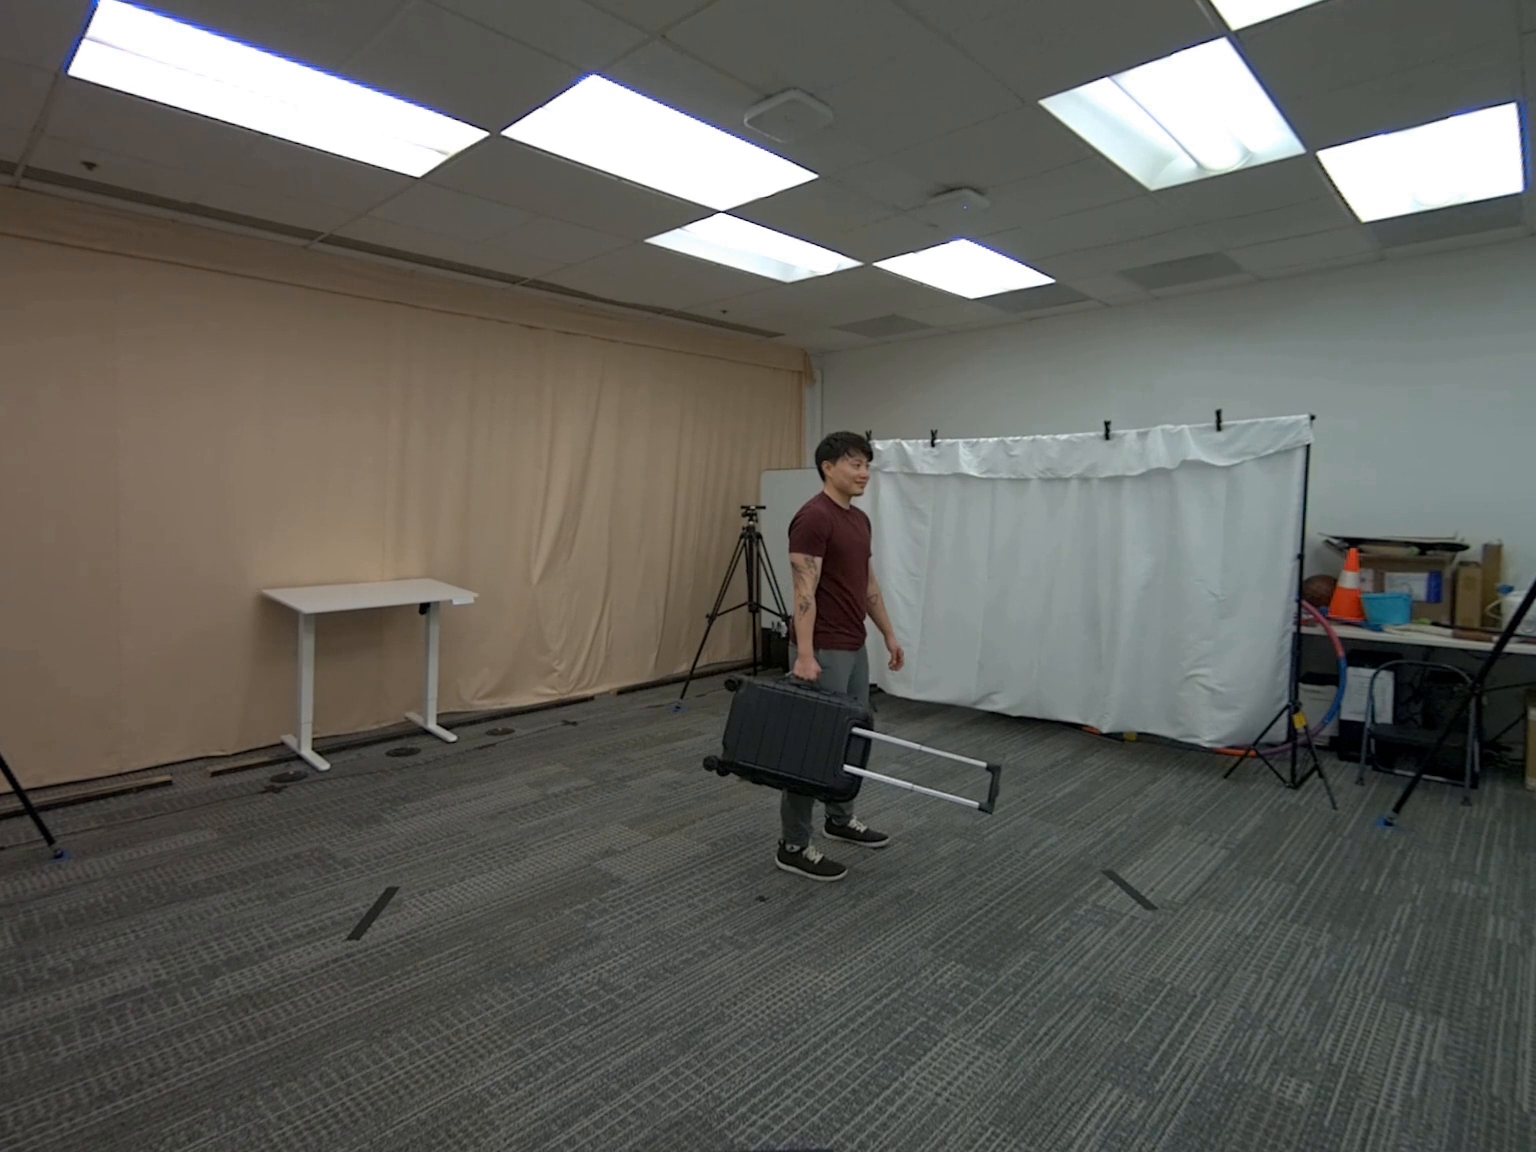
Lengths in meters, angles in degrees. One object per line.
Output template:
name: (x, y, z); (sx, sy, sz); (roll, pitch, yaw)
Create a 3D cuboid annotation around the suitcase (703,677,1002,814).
suitcase: (0.294, 0.627, 2.990); (0.995, 0.386, 0.251); (11, -14, 14)
